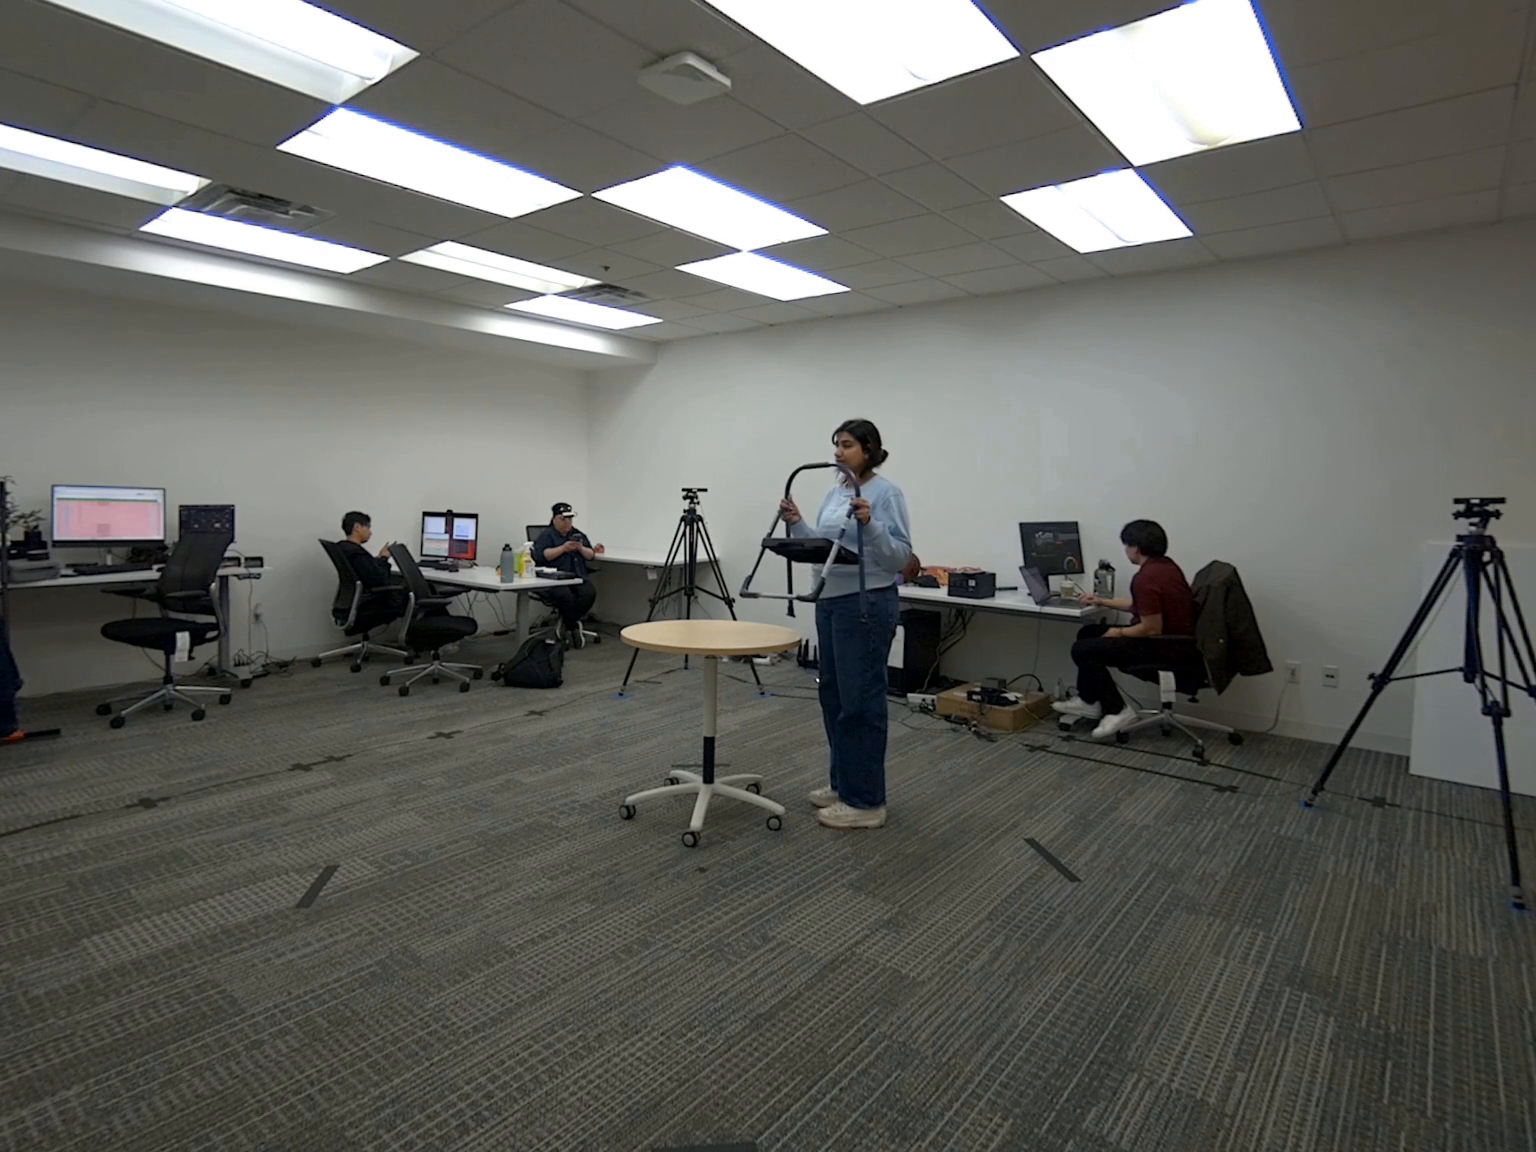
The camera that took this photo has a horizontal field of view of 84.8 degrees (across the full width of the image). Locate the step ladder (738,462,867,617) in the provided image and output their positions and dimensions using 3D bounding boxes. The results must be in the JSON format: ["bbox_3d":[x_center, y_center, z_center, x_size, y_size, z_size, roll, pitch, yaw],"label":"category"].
[{"bbox_3d":[0.192,-0.159,3.507,0.444,0.611,0.335,0,-17,45],"label":"step ladder"}]
